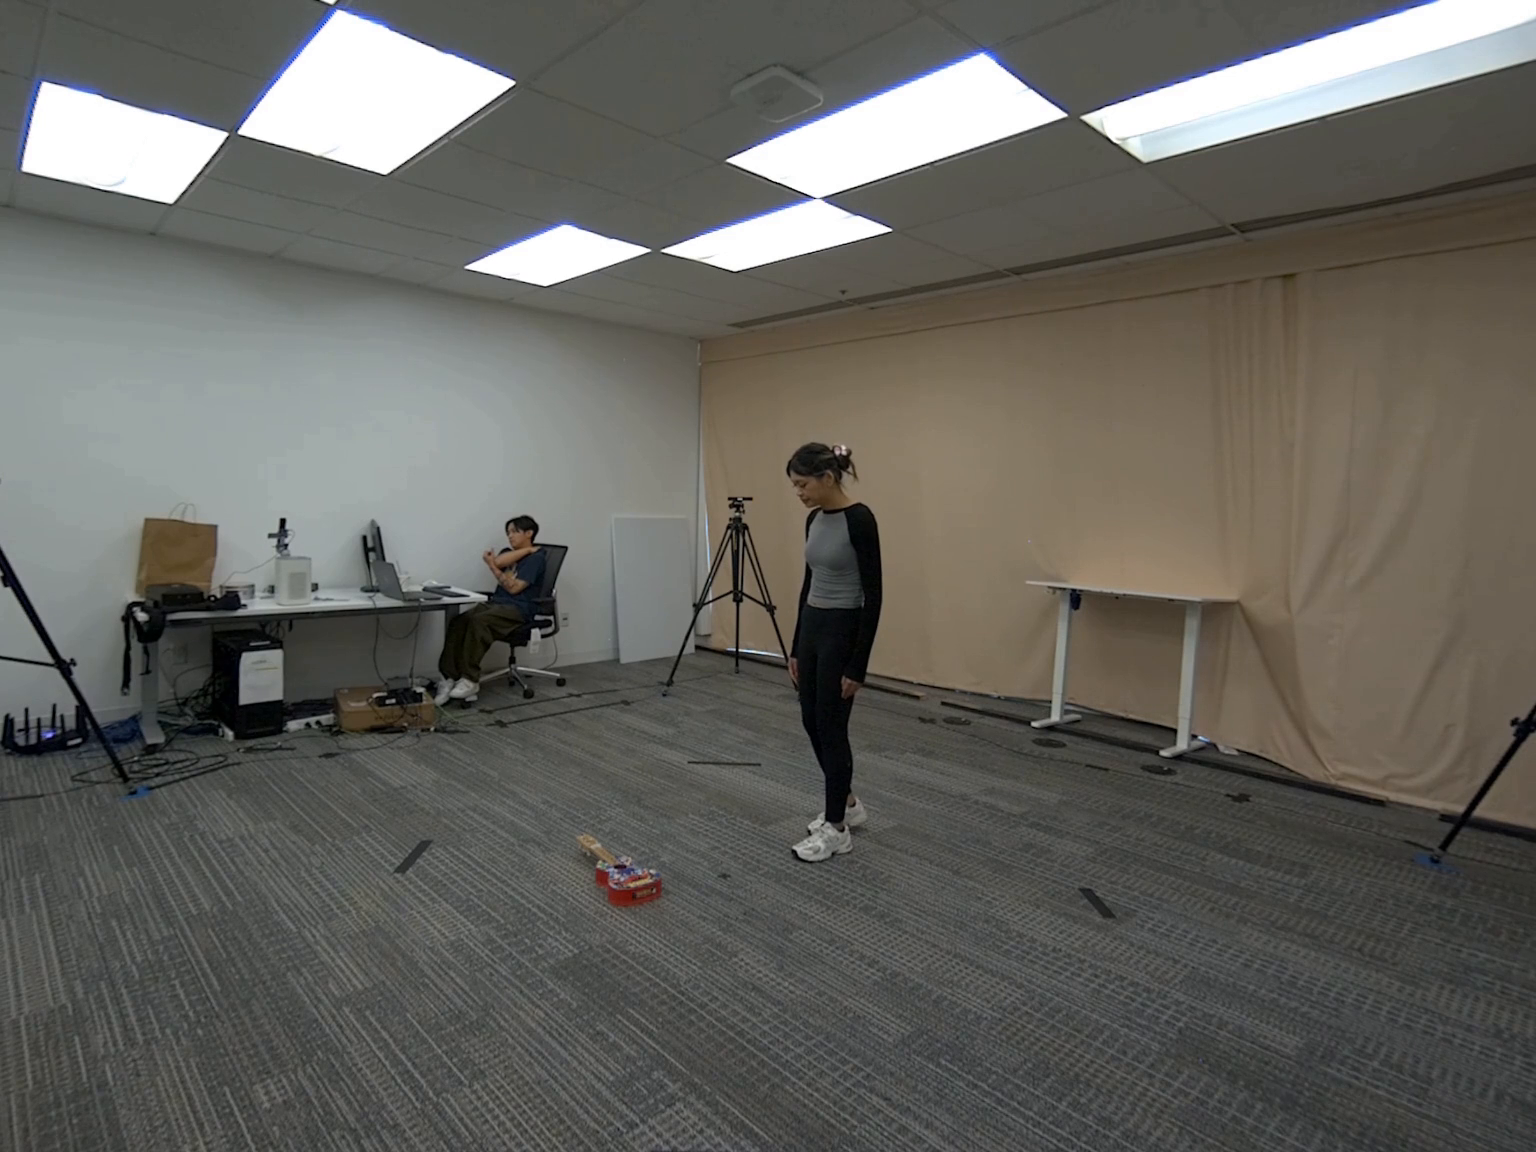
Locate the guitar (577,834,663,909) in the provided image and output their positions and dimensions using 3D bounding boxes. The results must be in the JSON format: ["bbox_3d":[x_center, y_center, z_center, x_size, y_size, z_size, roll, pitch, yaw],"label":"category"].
[{"bbox_3d":[-0.556,1.063,3.095,0.189,0.070,0.509,-1,7,-27],"label":"guitar"}]
